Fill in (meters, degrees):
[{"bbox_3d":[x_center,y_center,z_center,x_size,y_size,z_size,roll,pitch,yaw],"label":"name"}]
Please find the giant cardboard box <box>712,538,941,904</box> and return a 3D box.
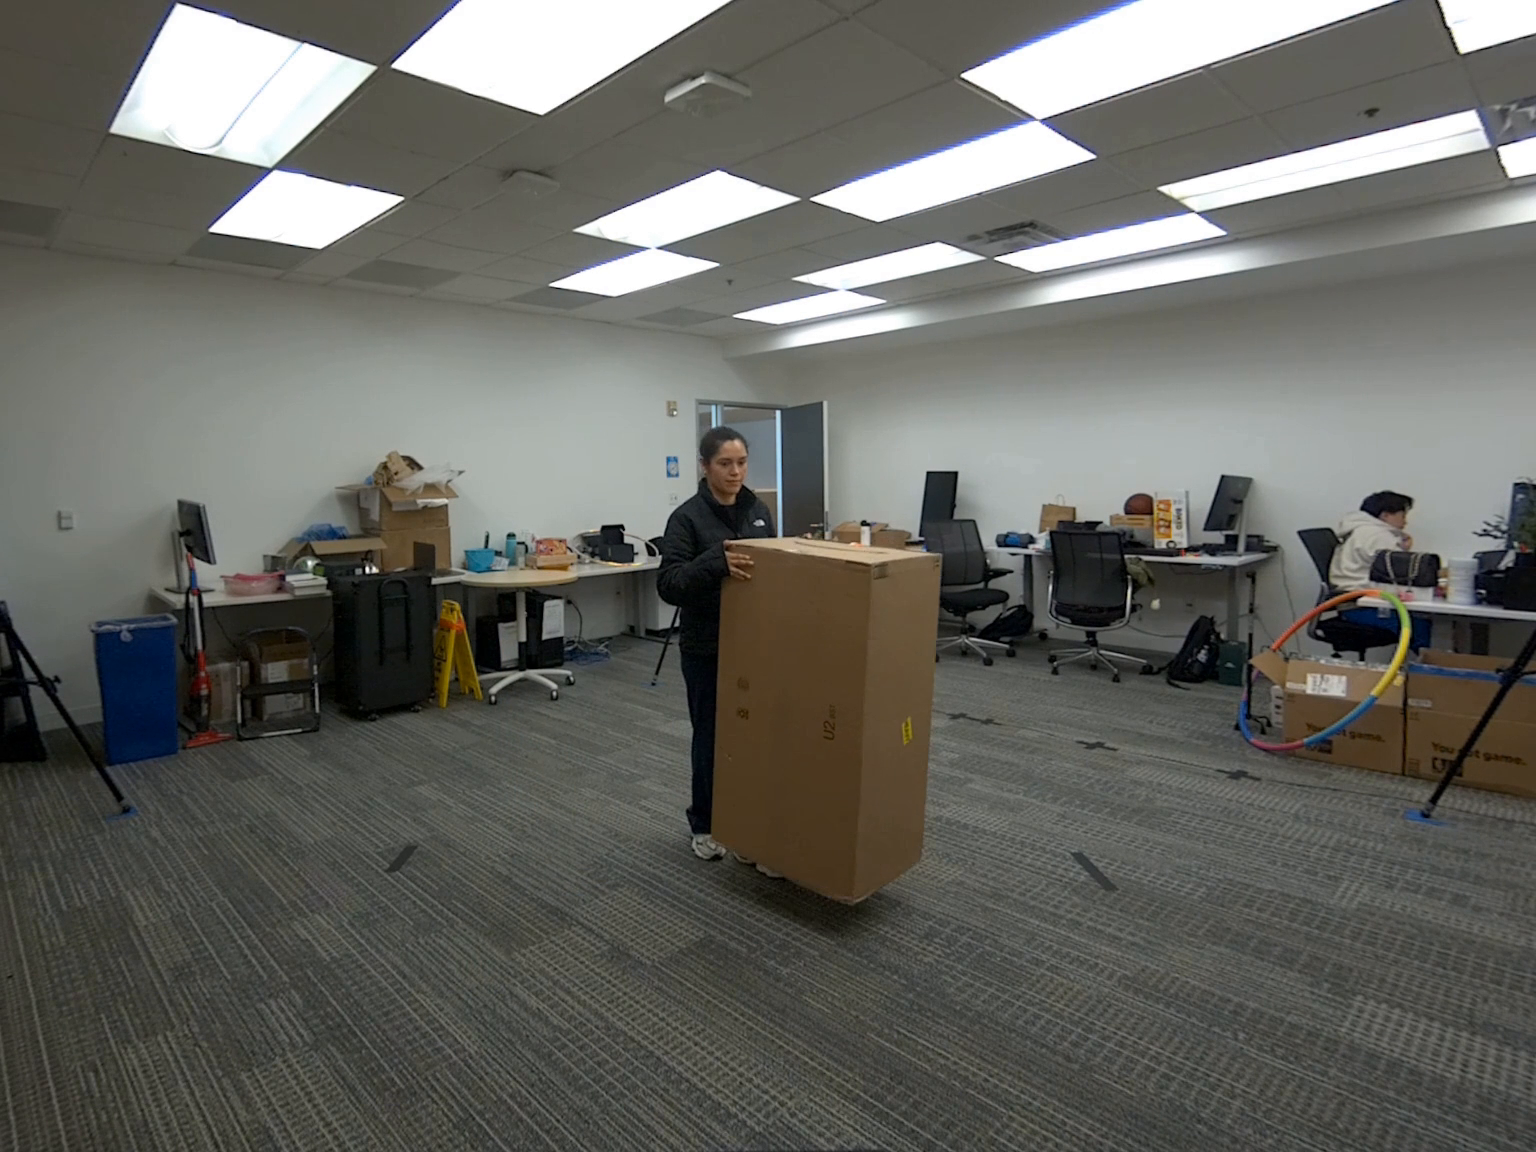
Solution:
[{"bbox_3d":[0.186,0.420,2.818,0.596,1.021,0.415,8,7,40],"label":"giant cardboard box"}]
